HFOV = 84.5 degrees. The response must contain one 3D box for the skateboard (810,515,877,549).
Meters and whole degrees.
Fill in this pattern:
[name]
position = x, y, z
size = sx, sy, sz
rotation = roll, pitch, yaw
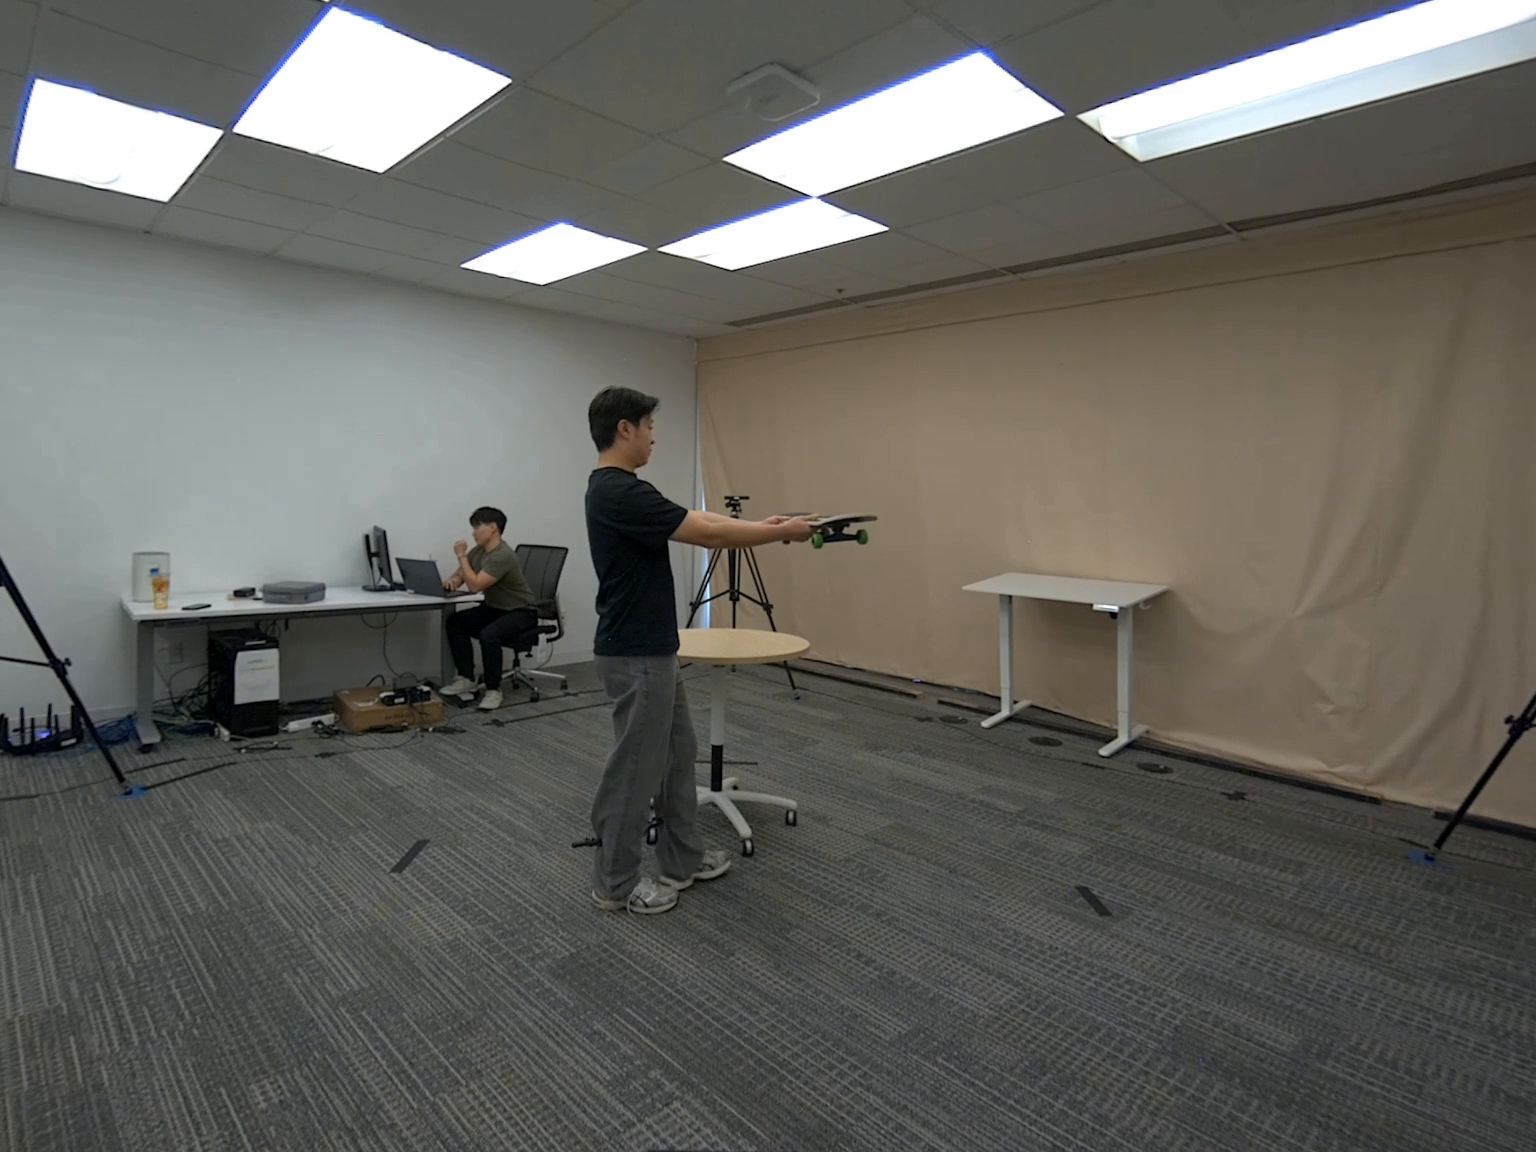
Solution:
[skateboard]
position = 0.177, -0.165, 2.937
size = 0.191, 0.110, 0.795
rotation = -6, 5, -14
